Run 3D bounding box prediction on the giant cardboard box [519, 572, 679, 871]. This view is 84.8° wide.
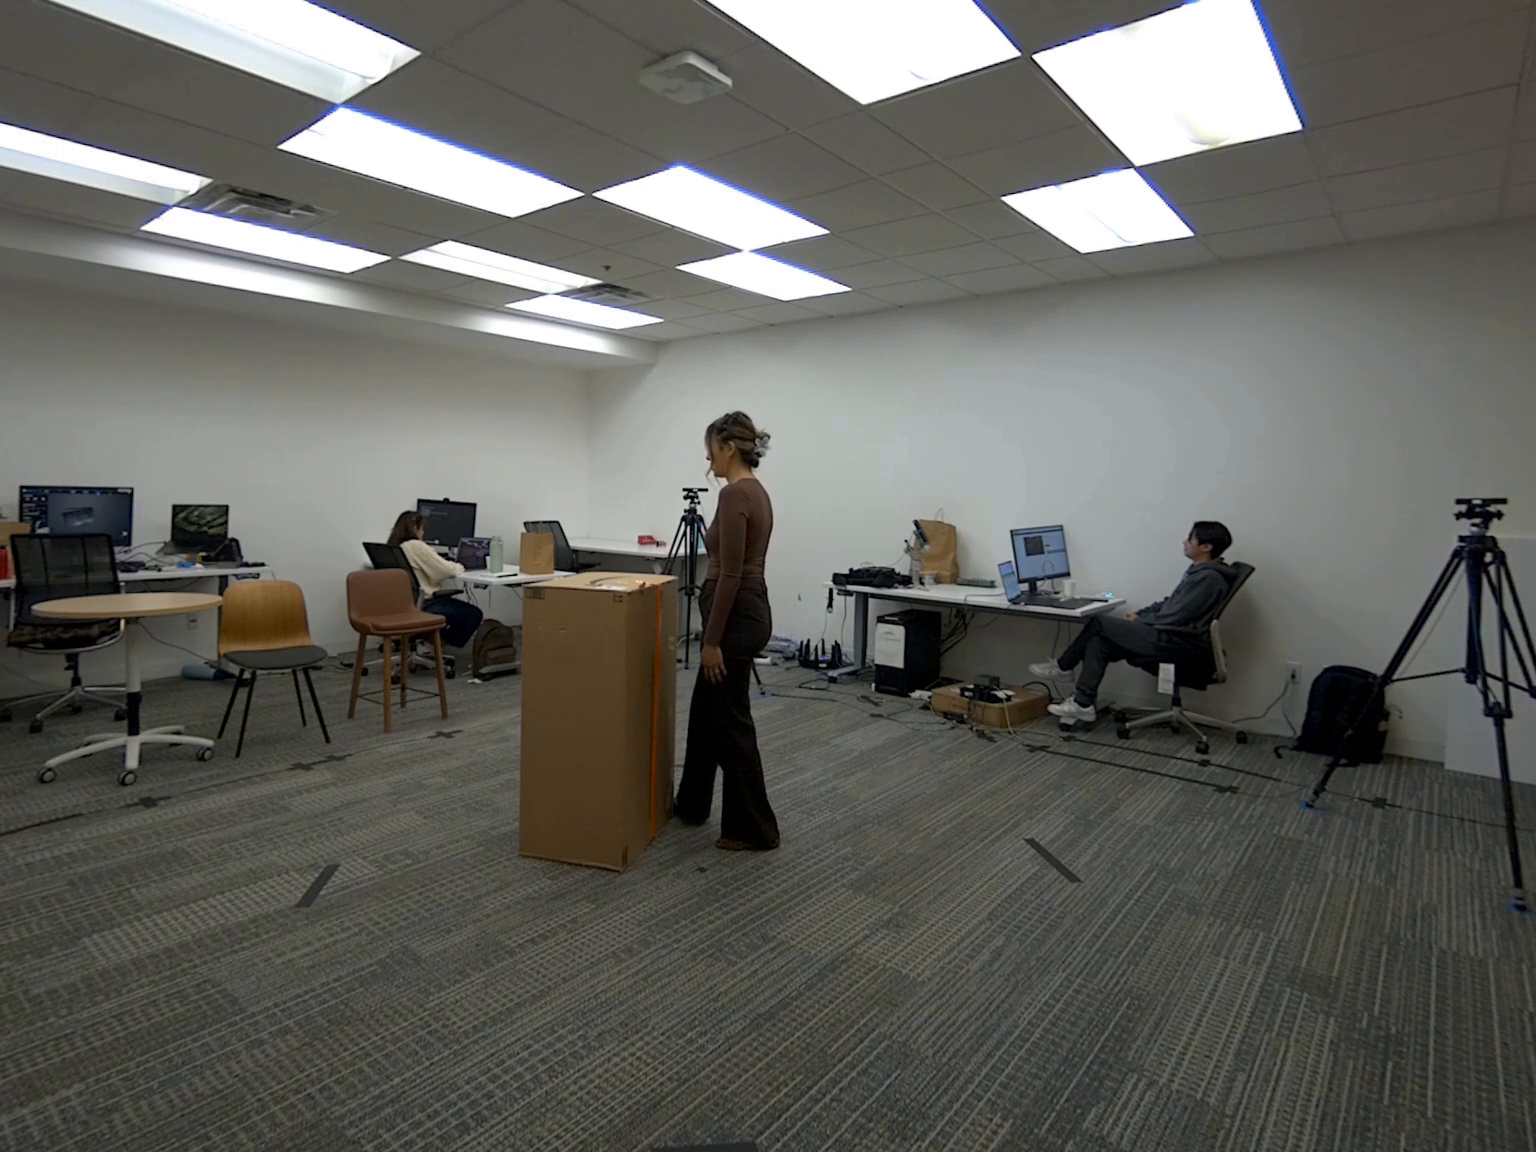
[{"bbox_3d":[-0.666,0.525,3.379,0.455,1.024,0.575,2,3,15],"label":"giant cardboard box"}]
